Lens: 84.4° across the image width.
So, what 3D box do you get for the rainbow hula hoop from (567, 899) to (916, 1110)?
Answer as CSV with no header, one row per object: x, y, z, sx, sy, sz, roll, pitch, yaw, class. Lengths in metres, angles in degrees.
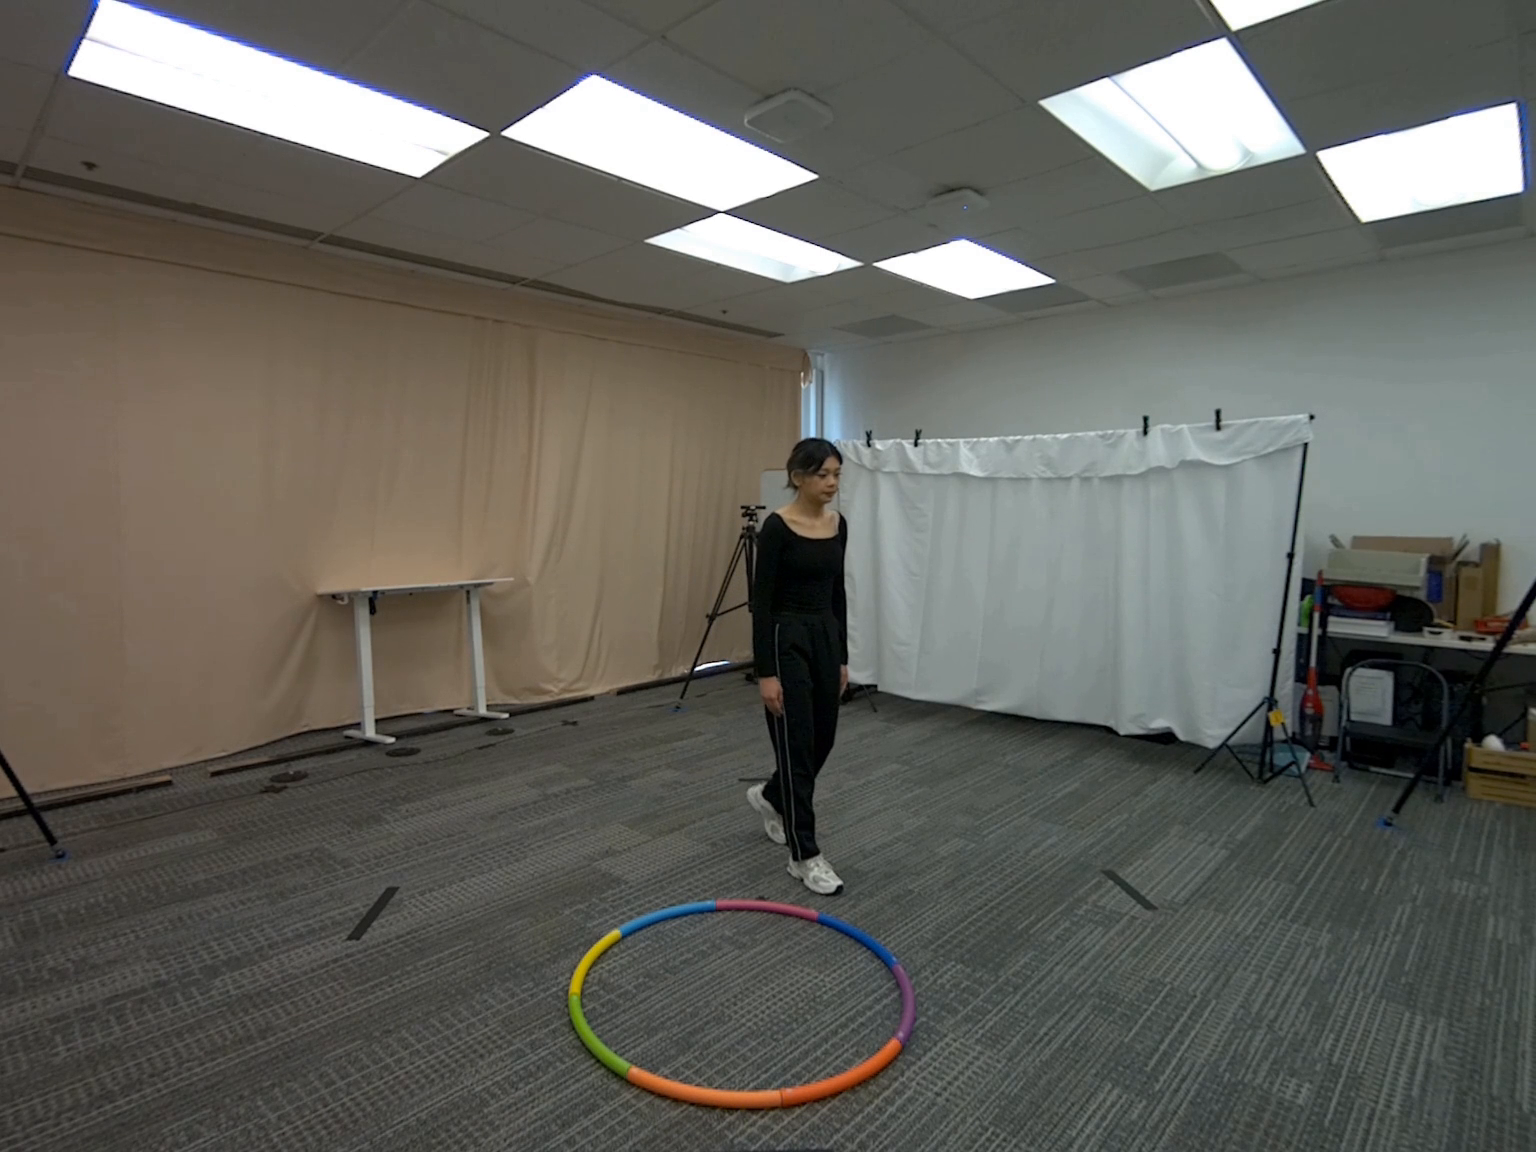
-0.075,1.161,2.432,0.978,0.035,0.982,0,4,-2,rainbow hula hoop
